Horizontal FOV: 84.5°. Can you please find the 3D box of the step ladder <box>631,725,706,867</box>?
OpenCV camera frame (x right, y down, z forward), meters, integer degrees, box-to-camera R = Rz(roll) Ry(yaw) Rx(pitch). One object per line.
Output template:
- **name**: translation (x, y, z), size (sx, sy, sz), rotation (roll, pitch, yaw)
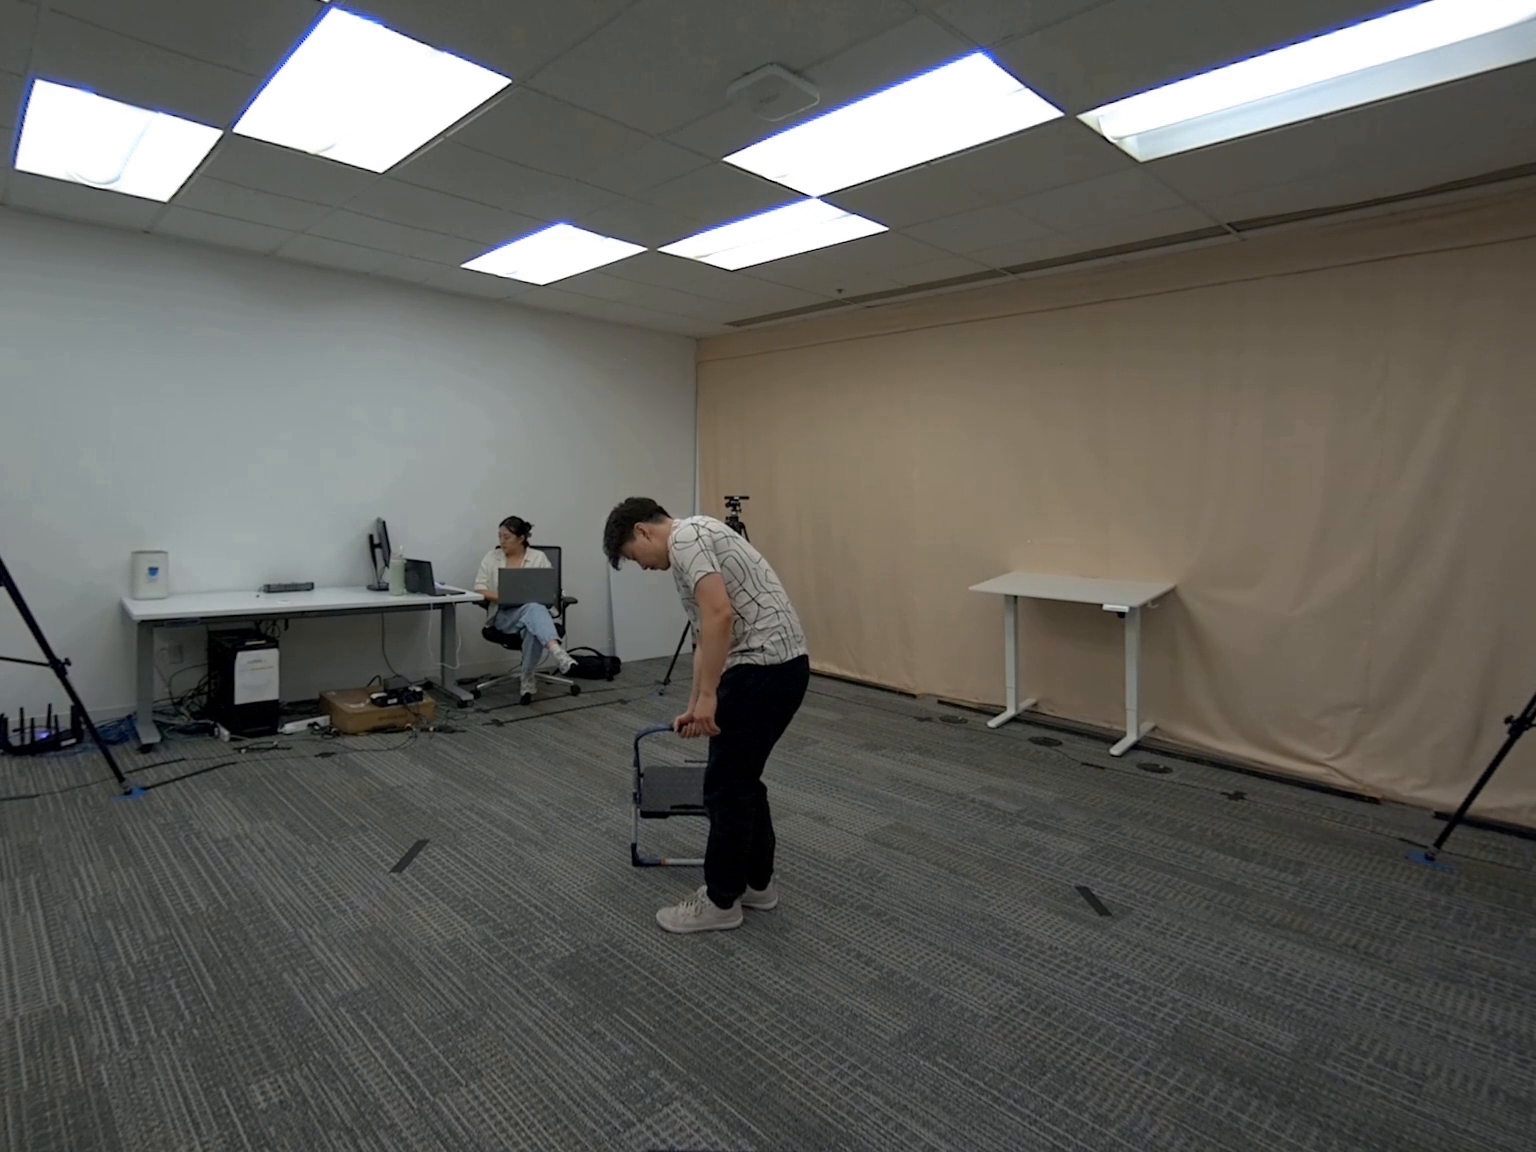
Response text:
- **step ladder**: translation (-0.312, 0.759, 3.177), size (0.430, 0.595, 0.356), rotation (1, 28, -3)
